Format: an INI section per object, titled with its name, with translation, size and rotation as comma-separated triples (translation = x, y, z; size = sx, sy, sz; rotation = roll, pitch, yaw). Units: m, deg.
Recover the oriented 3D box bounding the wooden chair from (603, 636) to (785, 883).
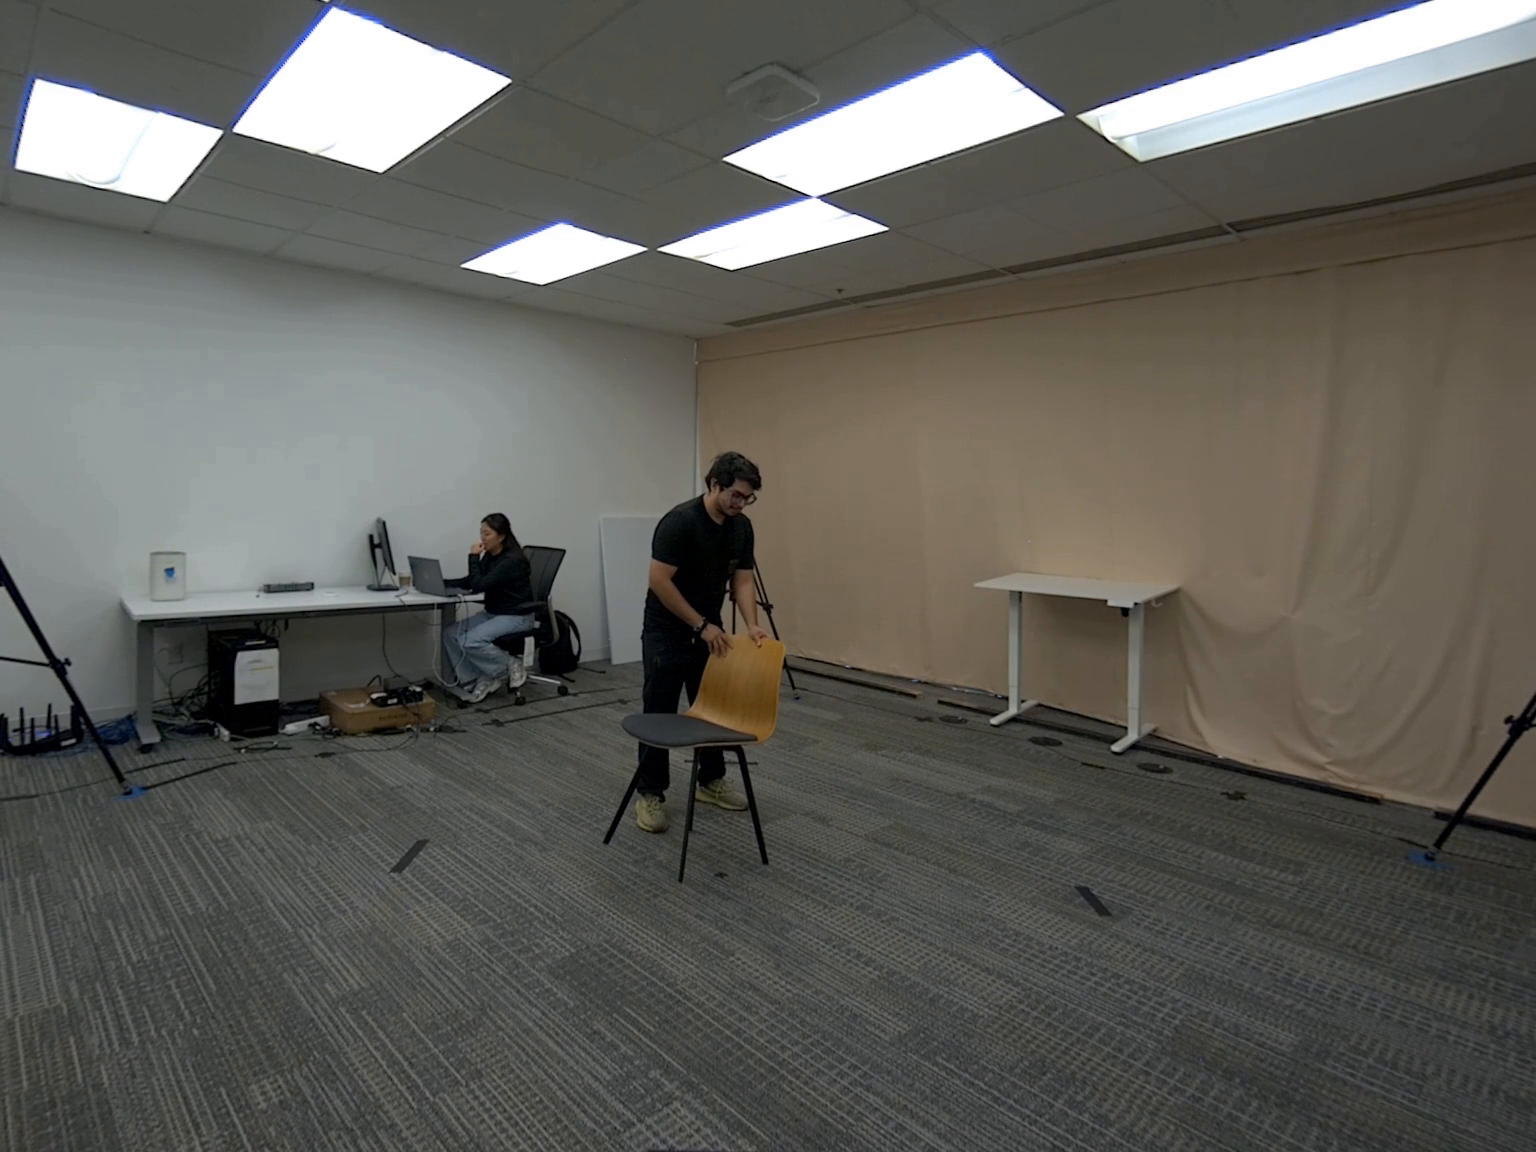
[wooden chair]
translation = -0.269, 0.637, 3.207
size = 0.490, 0.881, 0.508
rotation = 4, -9, 43
